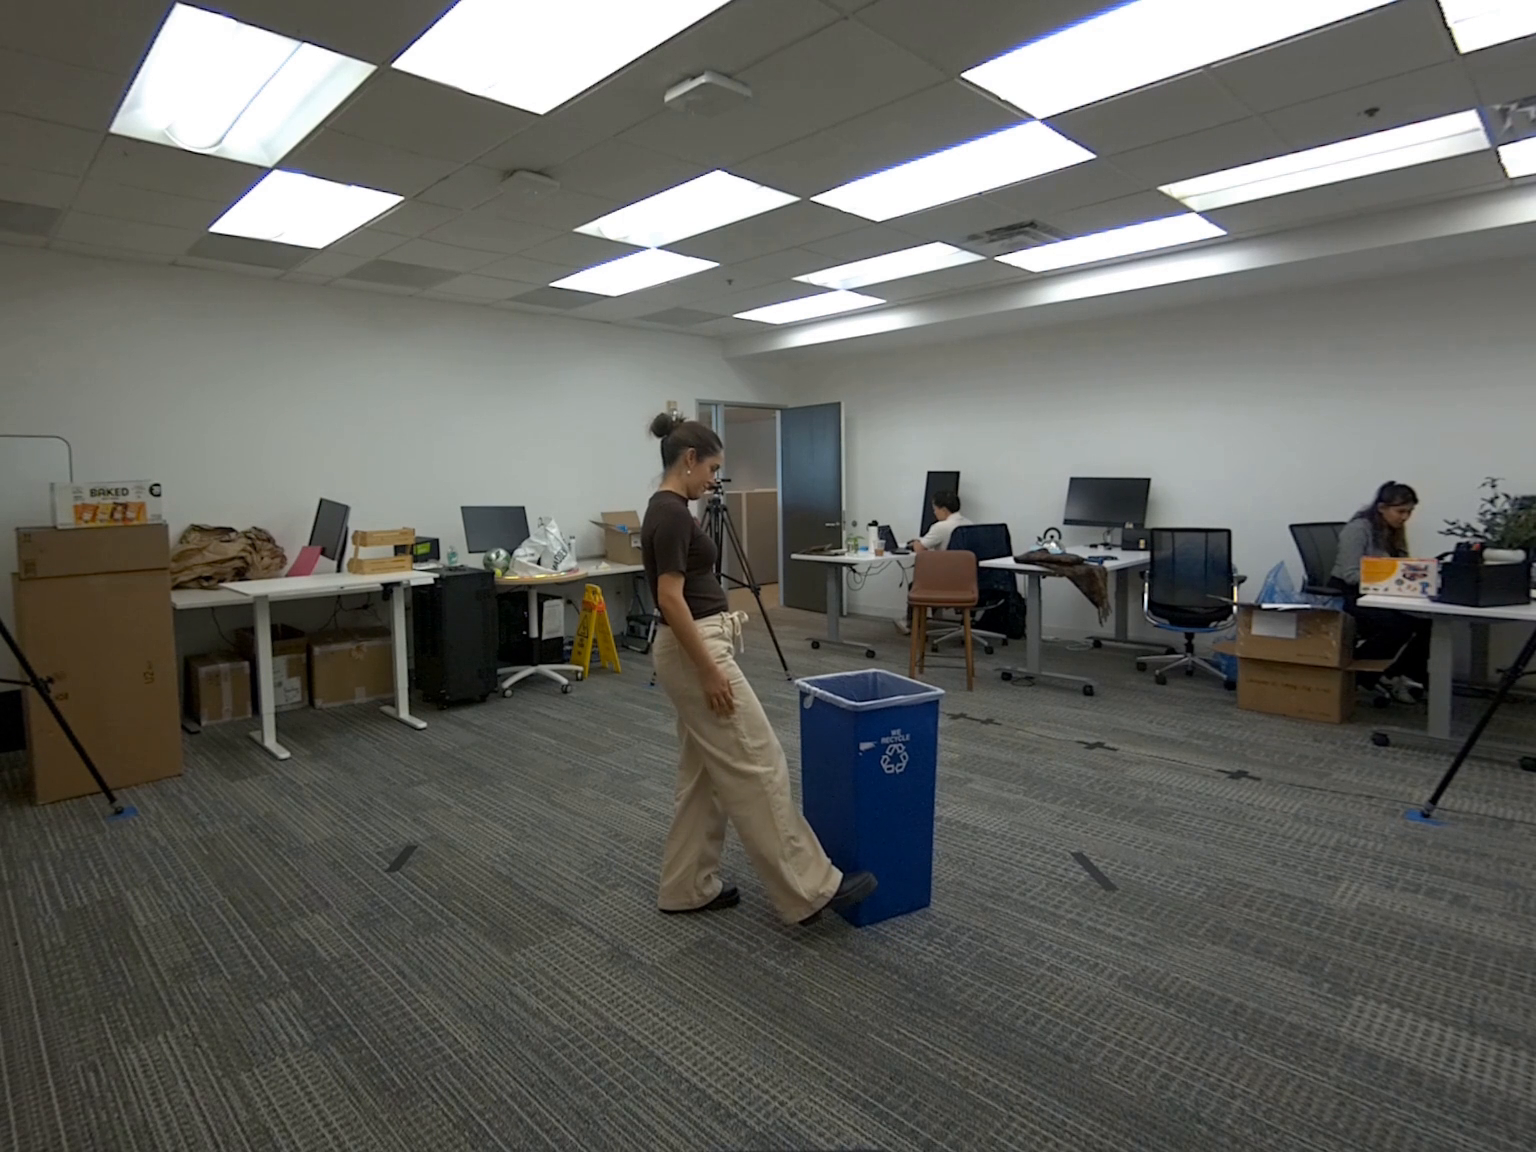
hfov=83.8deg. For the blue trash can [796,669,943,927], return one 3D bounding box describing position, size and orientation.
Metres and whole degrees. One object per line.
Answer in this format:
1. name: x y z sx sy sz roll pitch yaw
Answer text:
1. blue trash can: 0.340 0.712 2.819 0.369 0.711 0.384 -3 4 -28
